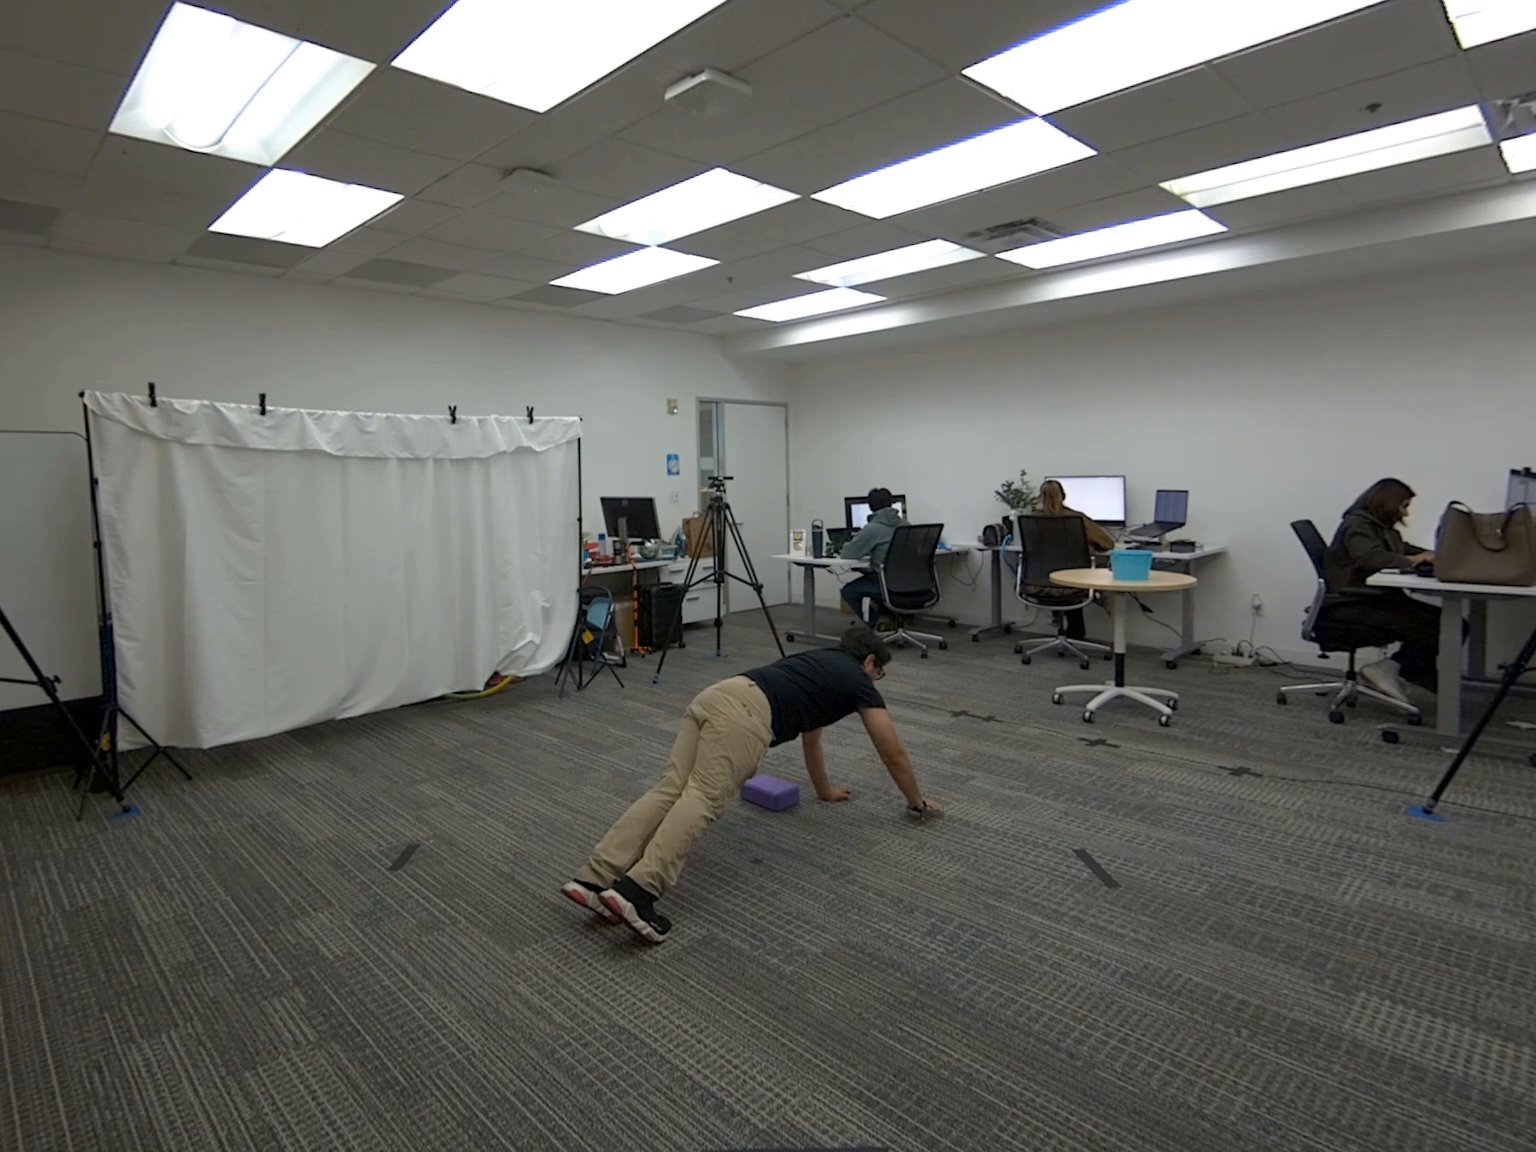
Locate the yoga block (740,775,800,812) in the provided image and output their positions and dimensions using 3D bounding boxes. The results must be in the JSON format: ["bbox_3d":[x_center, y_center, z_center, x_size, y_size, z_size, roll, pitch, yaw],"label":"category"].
[{"bbox_3d":[0.008,0.926,3.676,0.145,0.076,0.236,-5,8,-43],"label":"yoga block"}]
